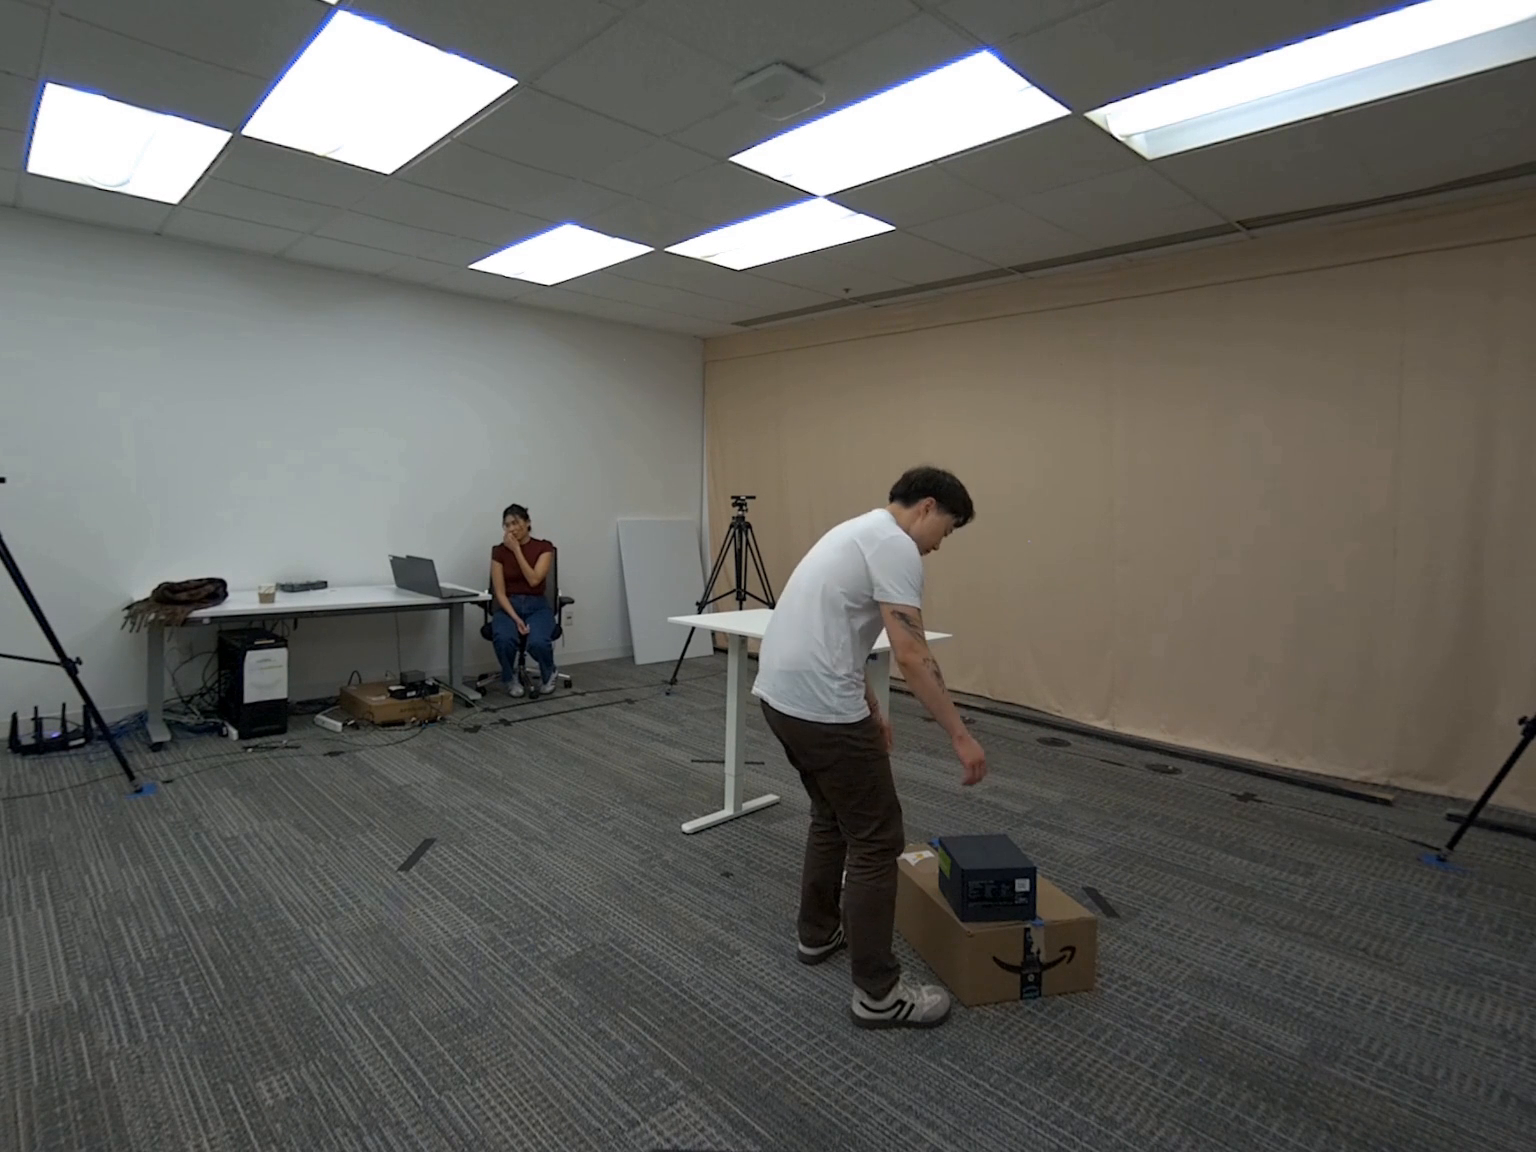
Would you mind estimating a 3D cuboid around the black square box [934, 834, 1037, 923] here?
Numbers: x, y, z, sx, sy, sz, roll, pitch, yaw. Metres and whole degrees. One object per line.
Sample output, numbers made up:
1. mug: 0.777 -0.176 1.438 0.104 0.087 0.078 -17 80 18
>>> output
1. black square box: 0.623 0.877 2.469 0.216 0.155 0.229 0 4 -3
